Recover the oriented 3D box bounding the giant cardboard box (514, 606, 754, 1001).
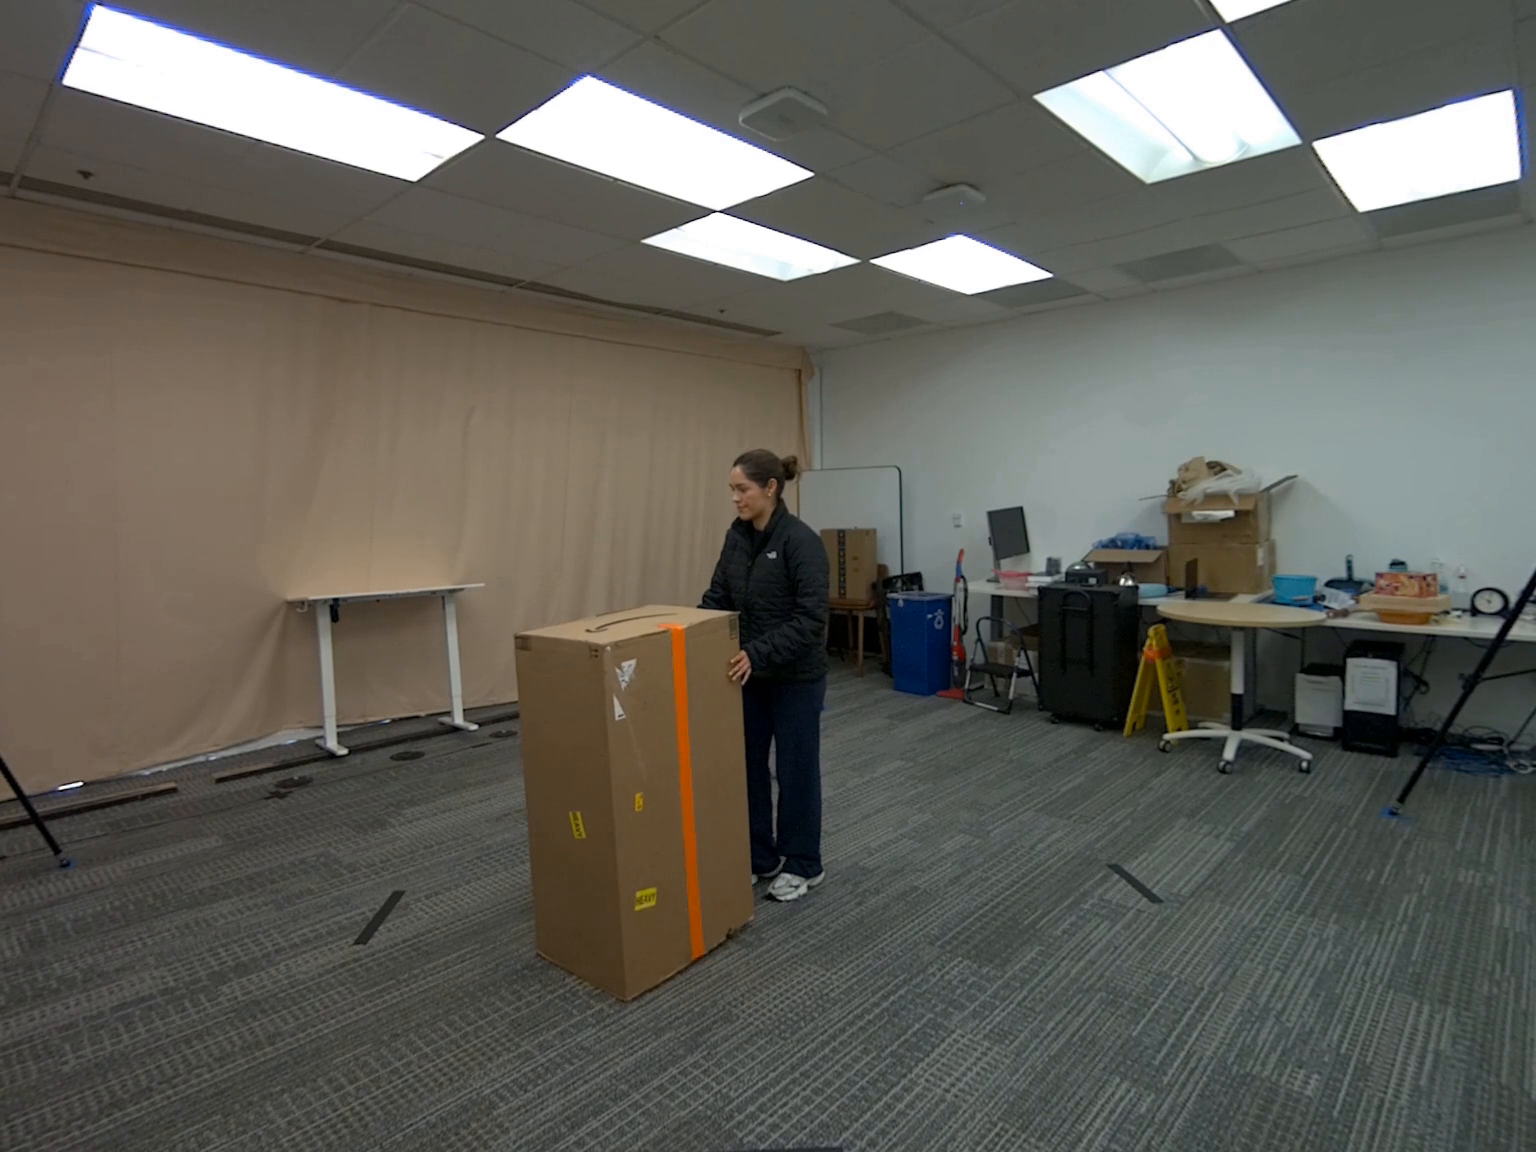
[{"bbox_3d":[-0.400,0.658,2.665,0.440,1.022,0.561,1,6,40],"label":"giant cardboard box"}]
